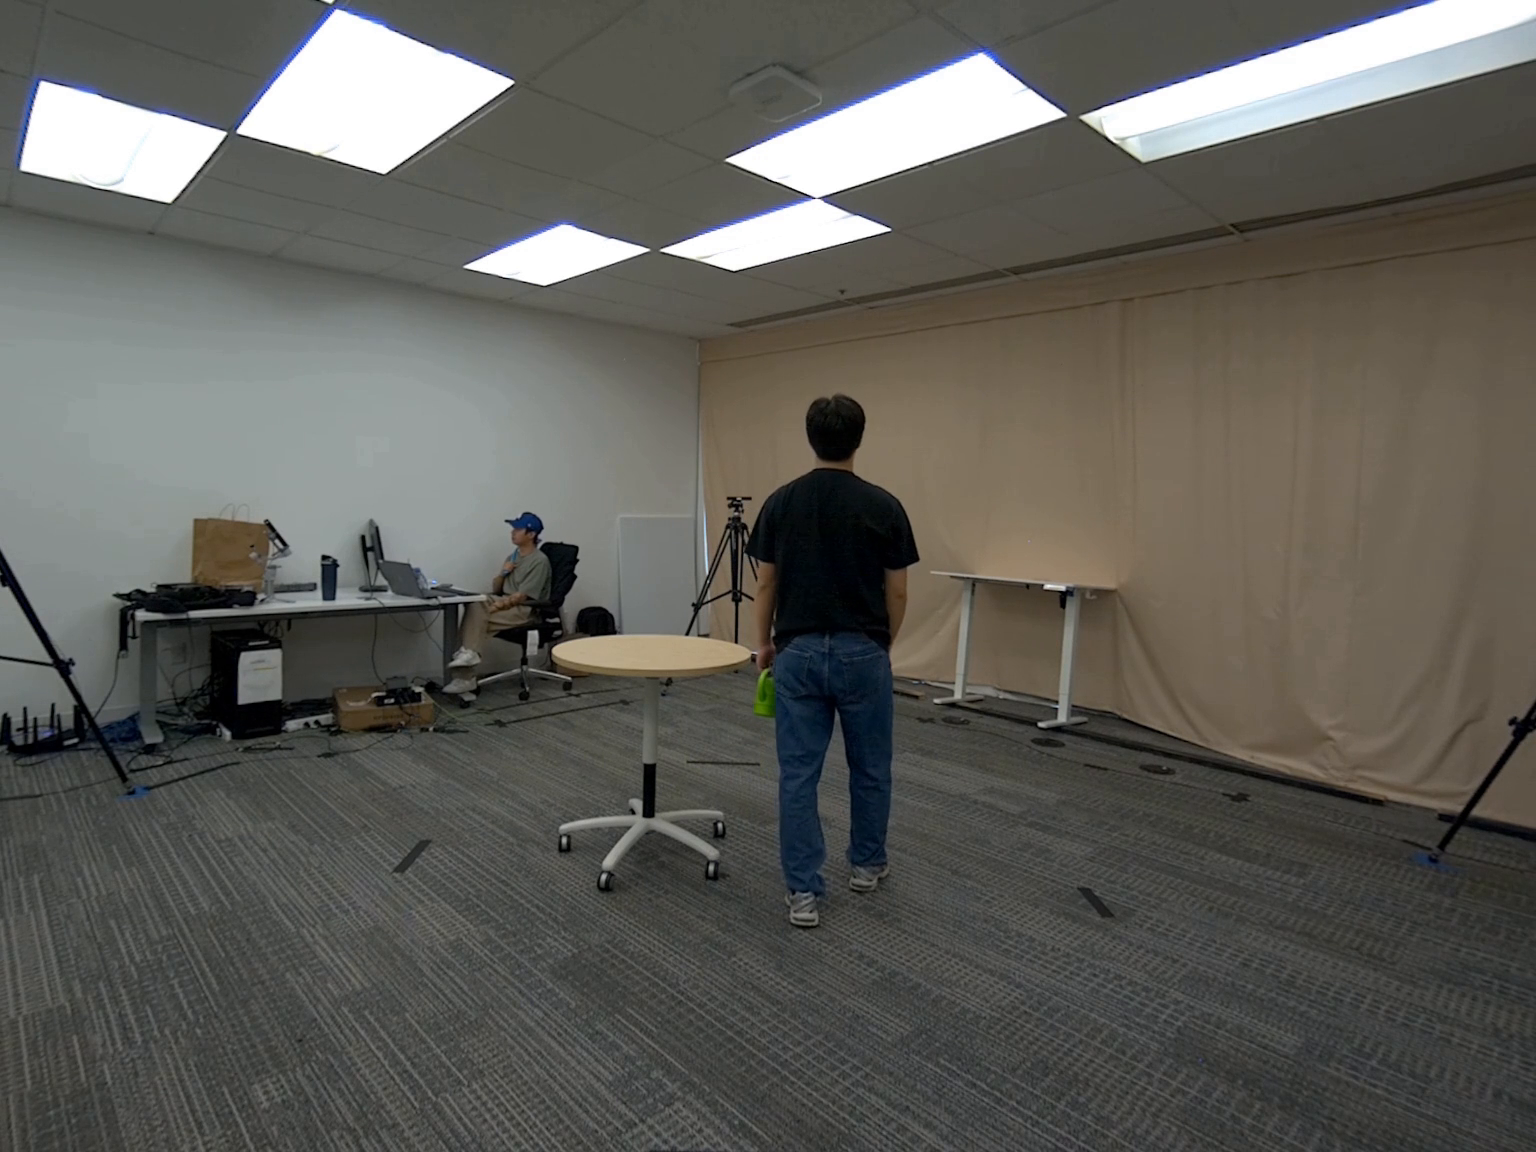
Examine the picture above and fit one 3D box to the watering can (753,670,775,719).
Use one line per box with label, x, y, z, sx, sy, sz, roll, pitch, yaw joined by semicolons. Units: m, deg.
watering can;0.030;0.433;3.121;0.100;0.177;0.270;3;-8;39
